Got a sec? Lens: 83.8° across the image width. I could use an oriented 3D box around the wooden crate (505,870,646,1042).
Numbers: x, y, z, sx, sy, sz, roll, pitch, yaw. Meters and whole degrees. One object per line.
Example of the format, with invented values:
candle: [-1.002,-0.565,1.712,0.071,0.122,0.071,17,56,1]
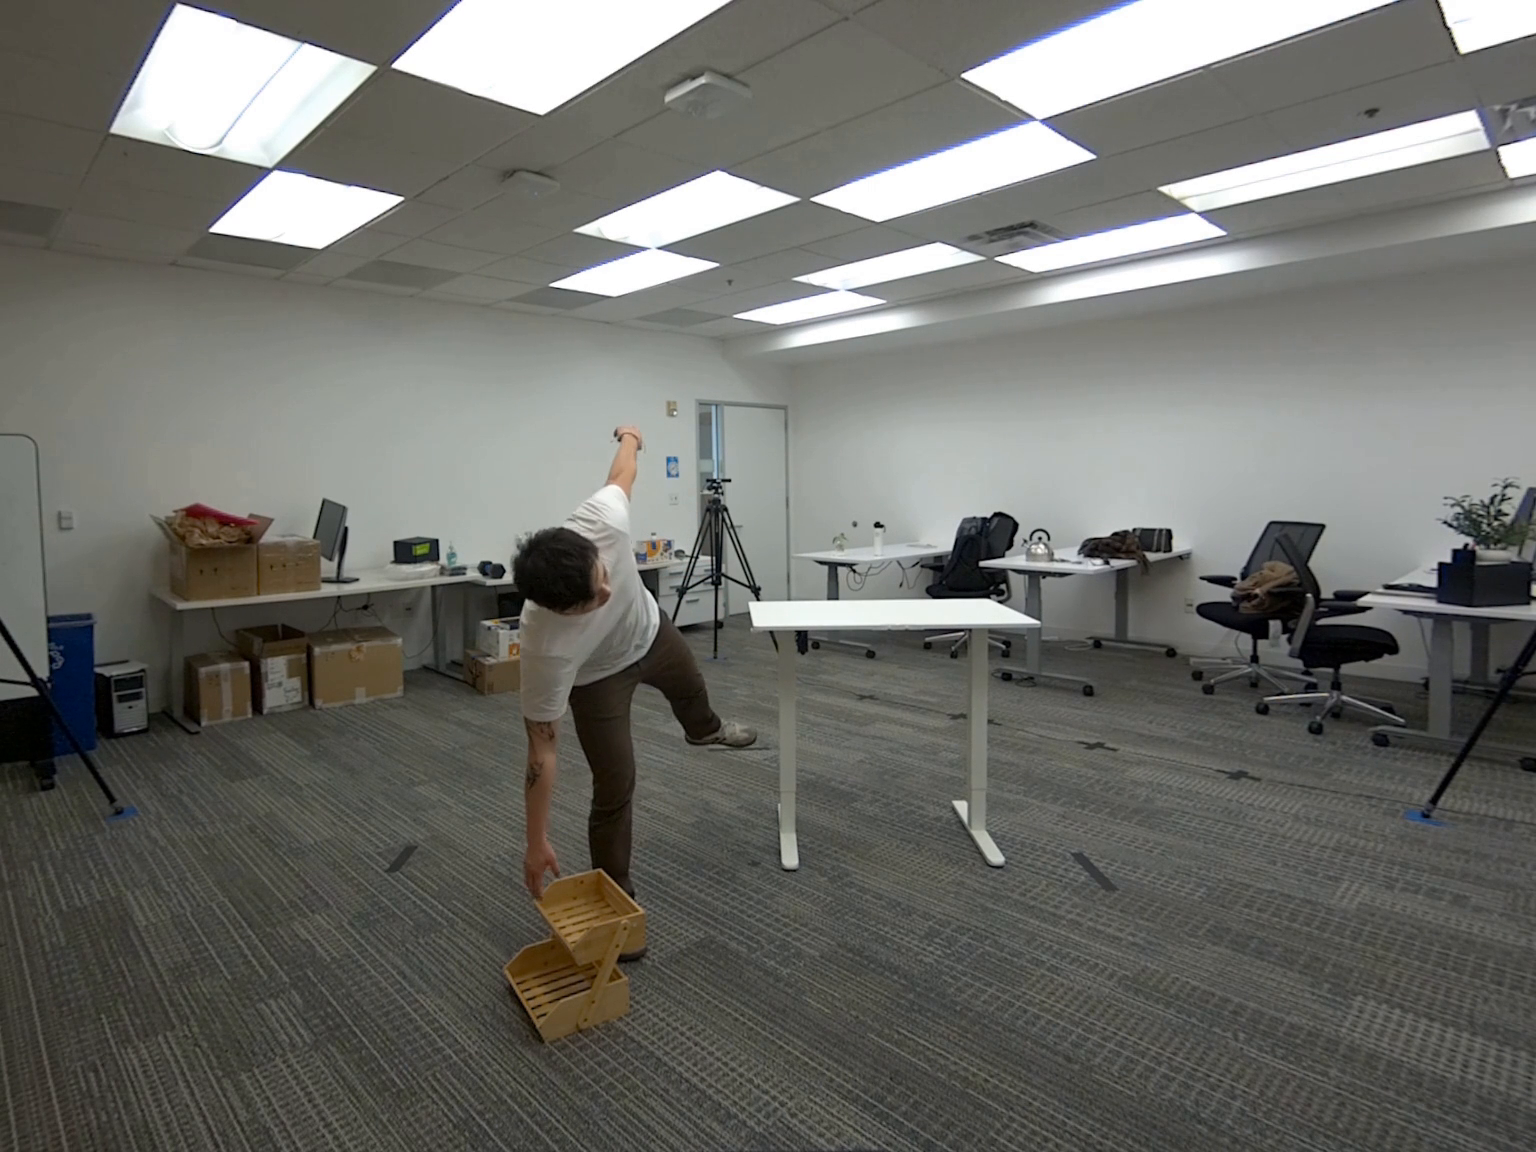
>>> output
wooden crate: [-0.536,1.016,2.321,0.295,0.272,0.334,-3,6,-31]
